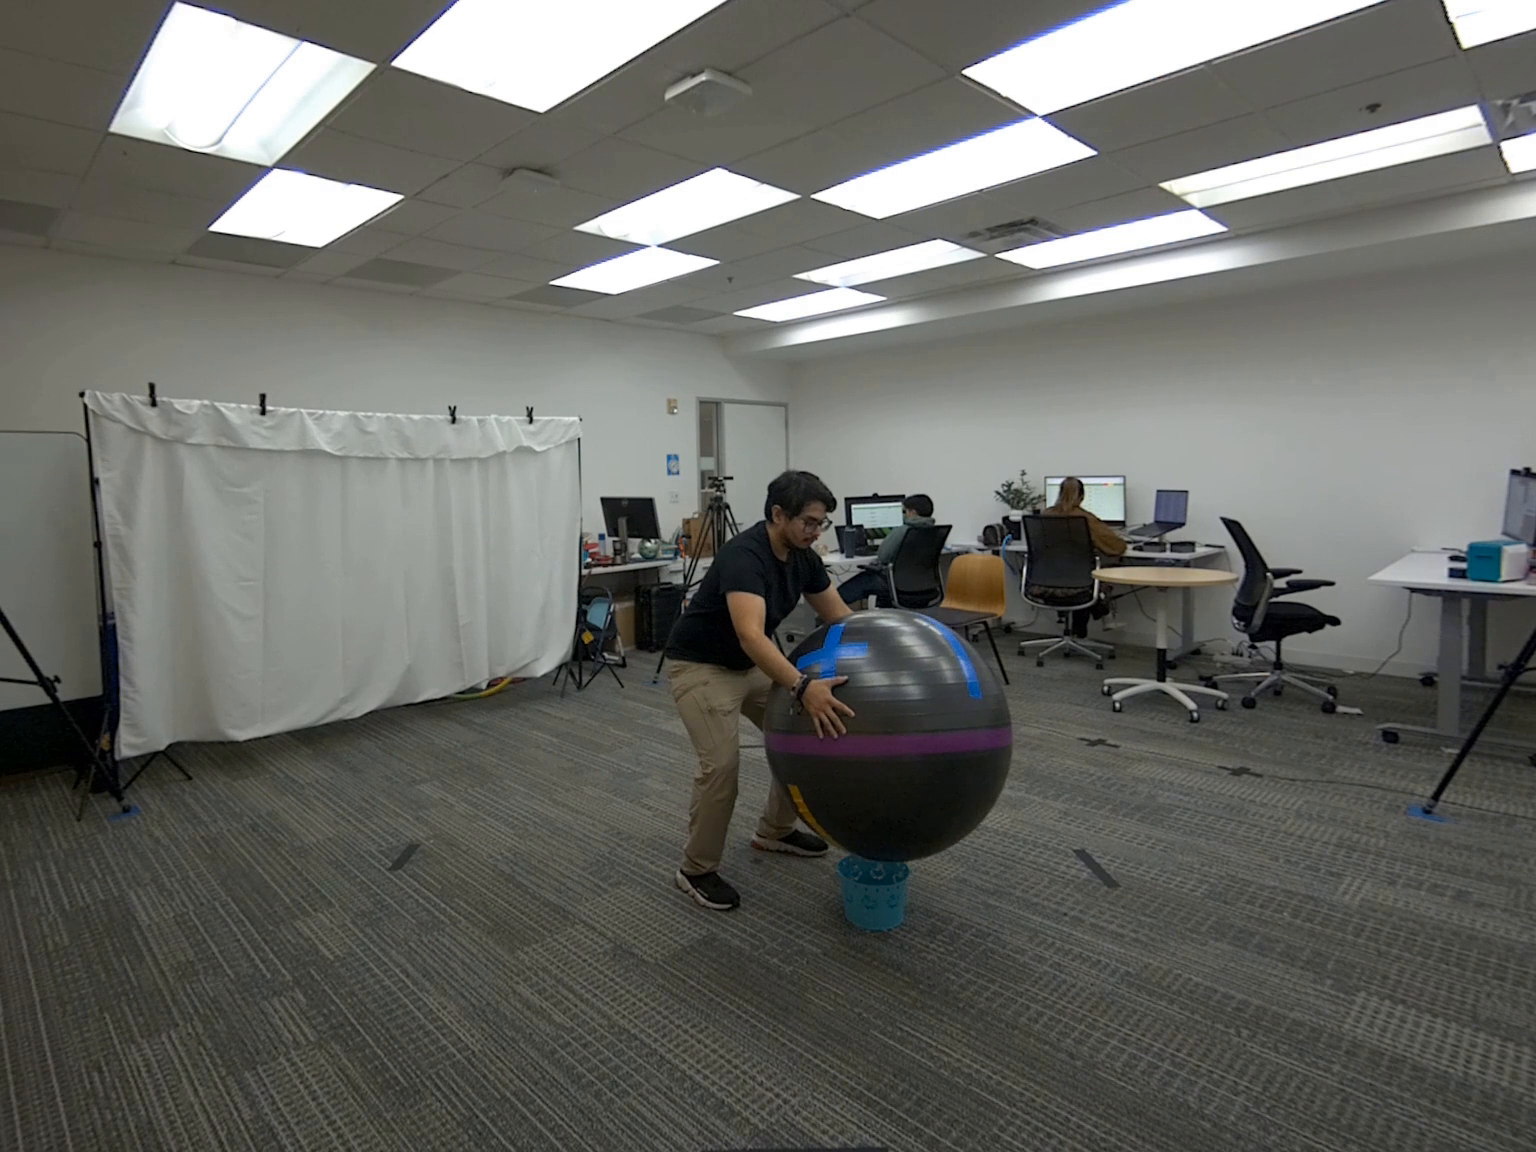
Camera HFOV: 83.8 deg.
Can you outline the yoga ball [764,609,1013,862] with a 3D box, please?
[{"bbox_3d":[0.377,0.493,2.649,0.757,0.755,0.762,-1,5,-2],"label":"yoga ball"}]
